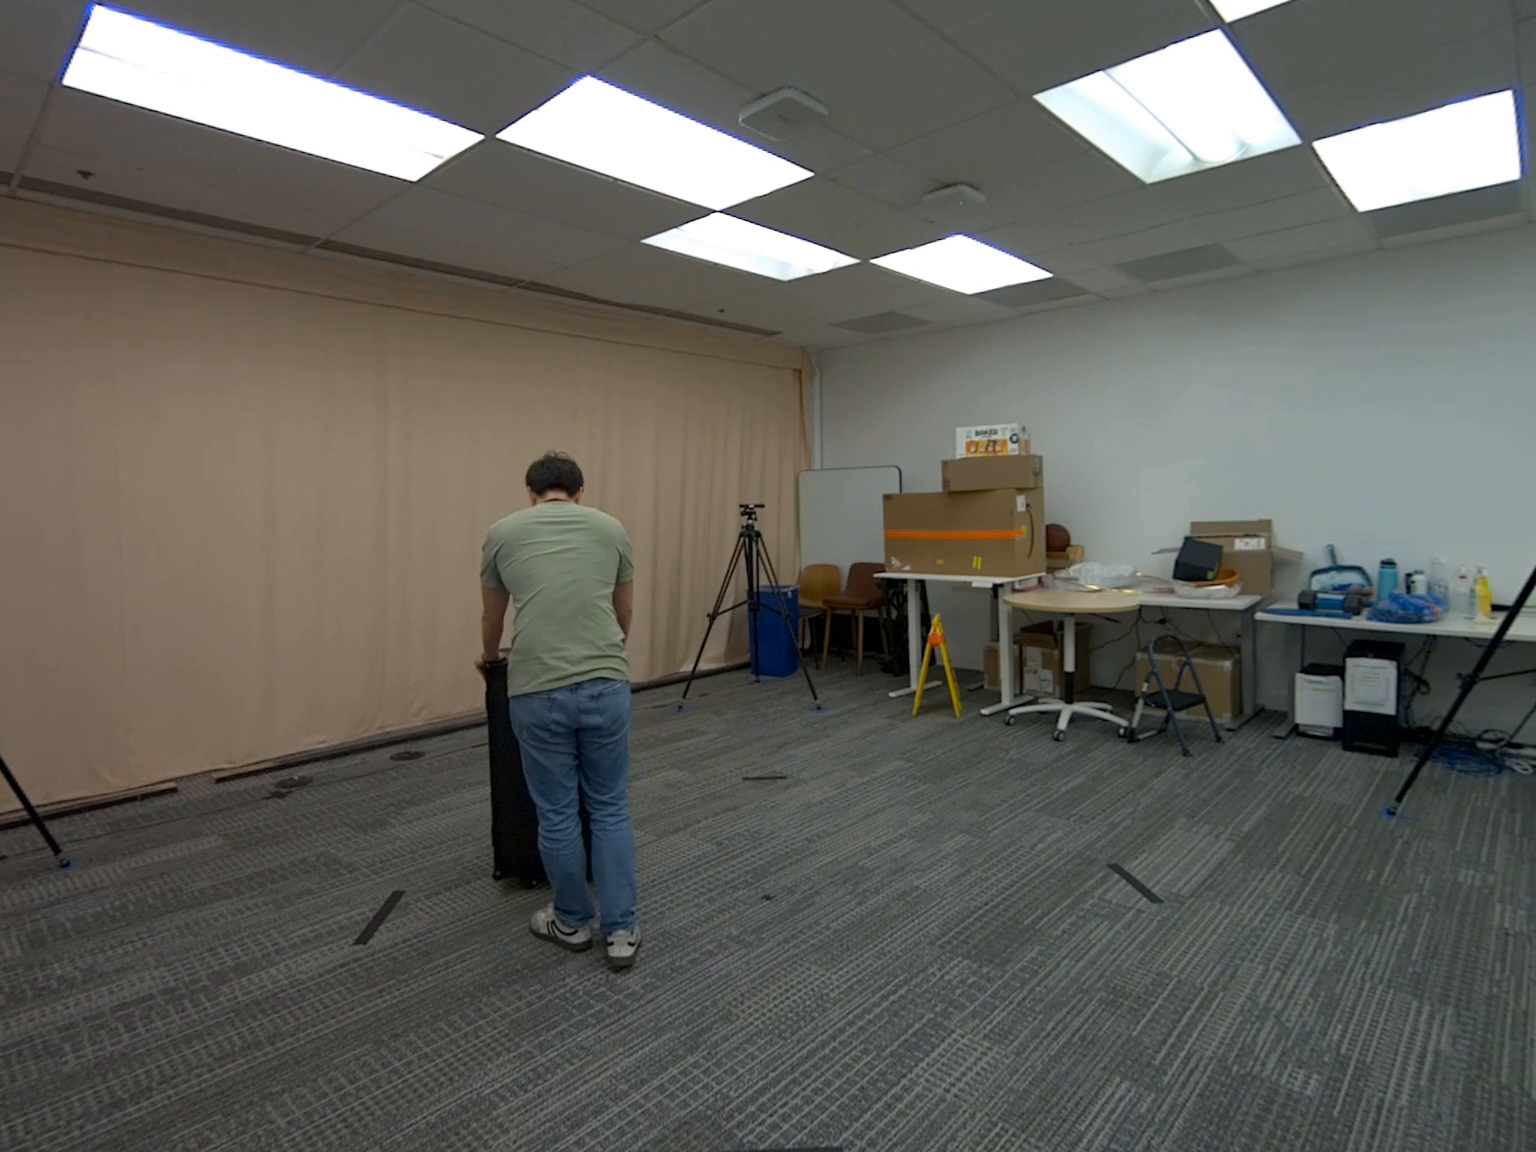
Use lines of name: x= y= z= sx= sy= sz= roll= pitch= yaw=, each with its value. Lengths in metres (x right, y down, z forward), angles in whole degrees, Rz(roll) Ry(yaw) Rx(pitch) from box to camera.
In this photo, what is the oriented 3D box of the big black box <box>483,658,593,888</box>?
big black box: x=-0.821 y=0.712 z=3.230 sx=0.514 sy=0.860 sz=0.402 roll=-3 pitch=2 yaw=-13
